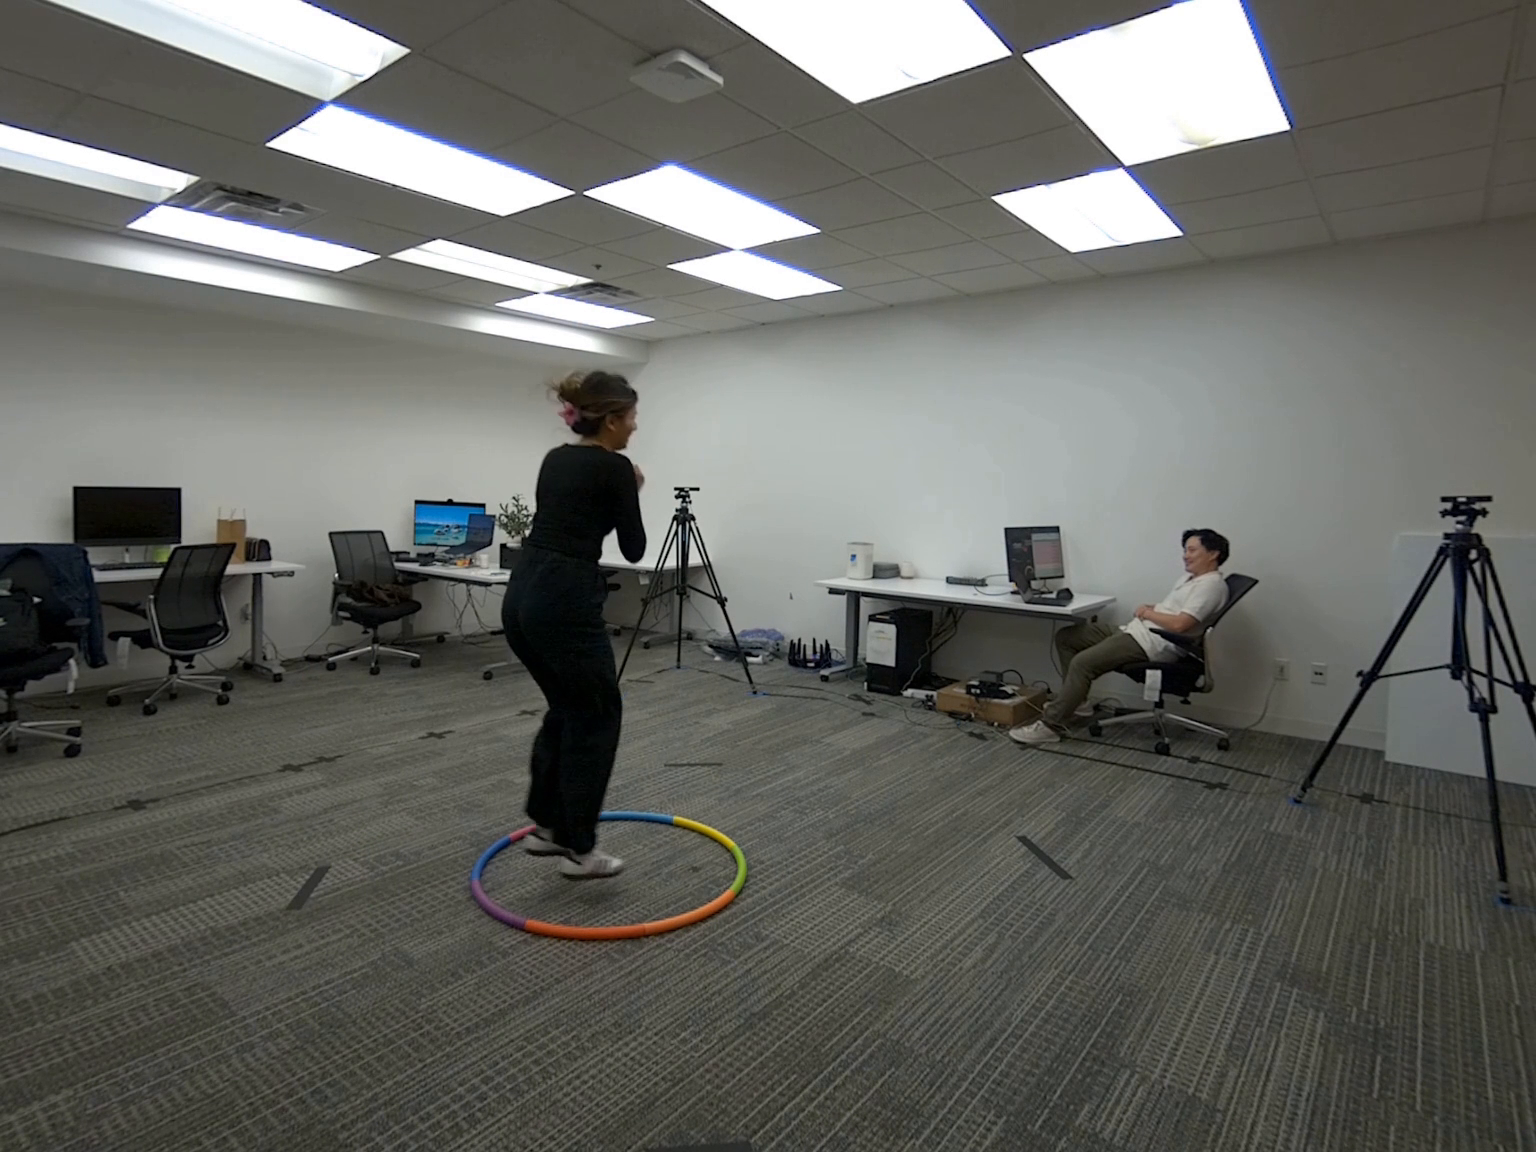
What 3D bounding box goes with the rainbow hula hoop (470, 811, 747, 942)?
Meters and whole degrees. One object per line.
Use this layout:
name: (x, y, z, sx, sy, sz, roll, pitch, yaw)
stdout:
rainbow hula hoop: (-0.574, 1.036, 3.081, 0.978, 0.035, 0.984, 1, 5, -2)
